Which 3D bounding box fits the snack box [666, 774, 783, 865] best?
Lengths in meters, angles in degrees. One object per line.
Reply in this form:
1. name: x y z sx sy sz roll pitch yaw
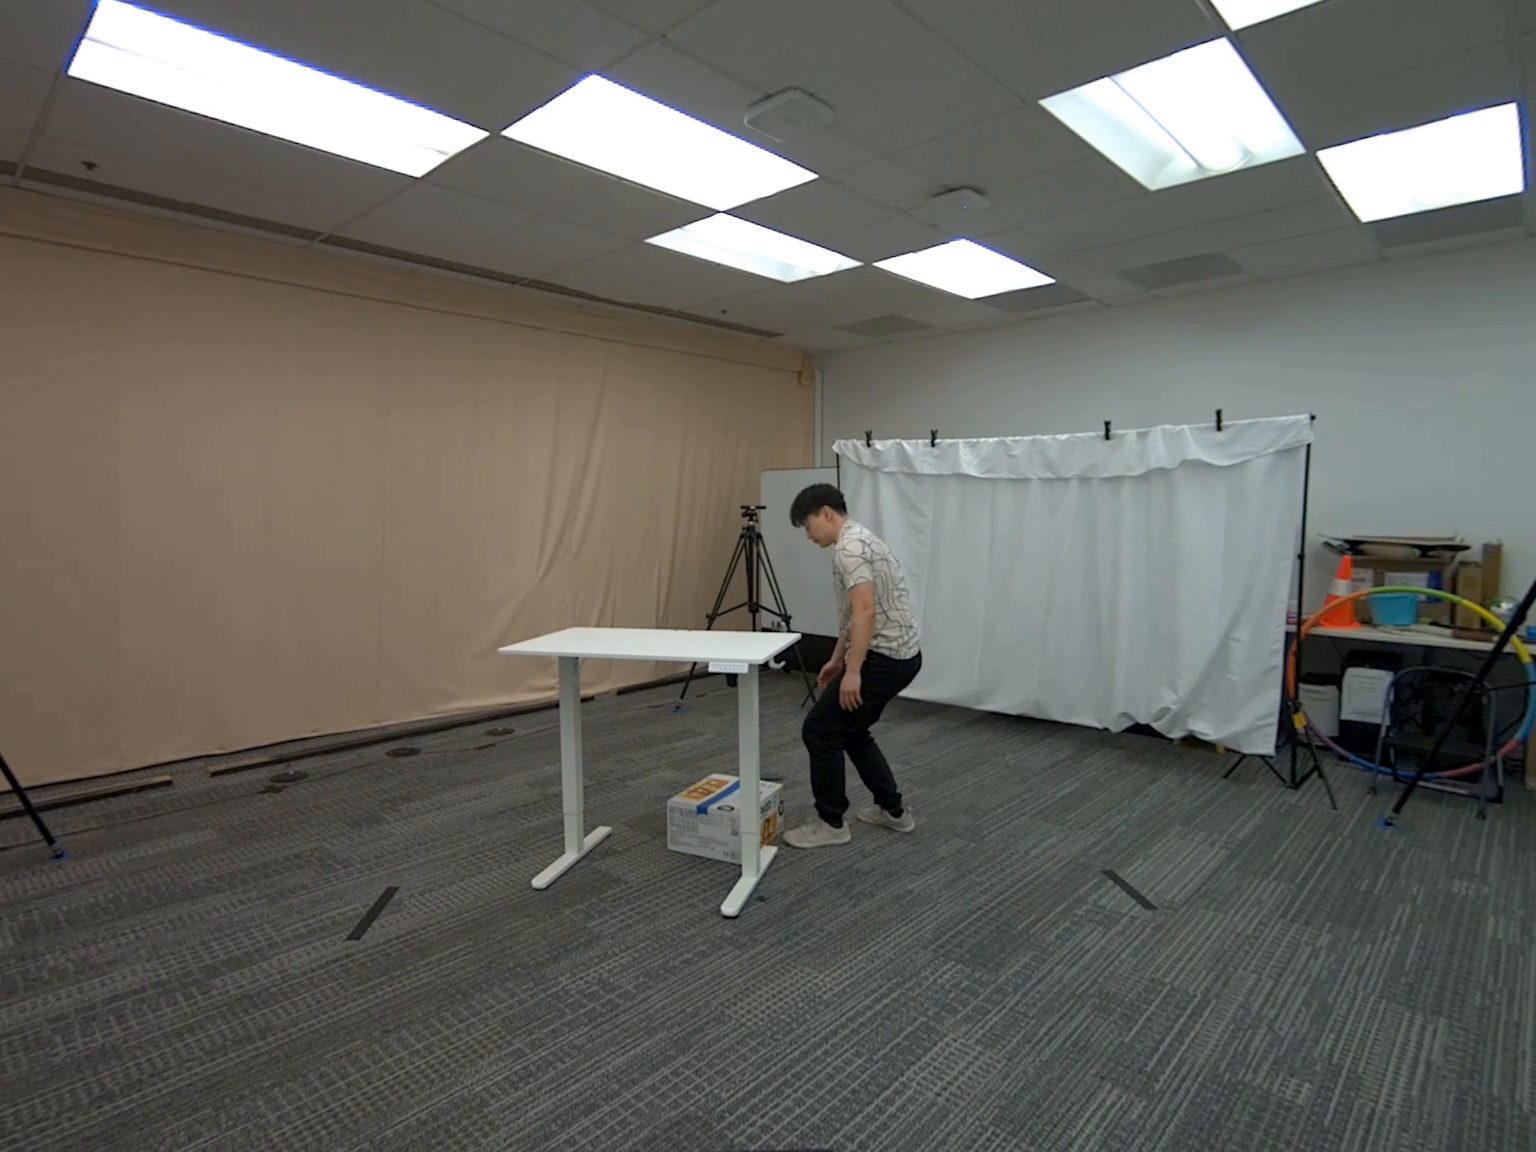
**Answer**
1. snack box: -0.170 0.999 3.499 0.349 0.205 0.395 1 4 26
